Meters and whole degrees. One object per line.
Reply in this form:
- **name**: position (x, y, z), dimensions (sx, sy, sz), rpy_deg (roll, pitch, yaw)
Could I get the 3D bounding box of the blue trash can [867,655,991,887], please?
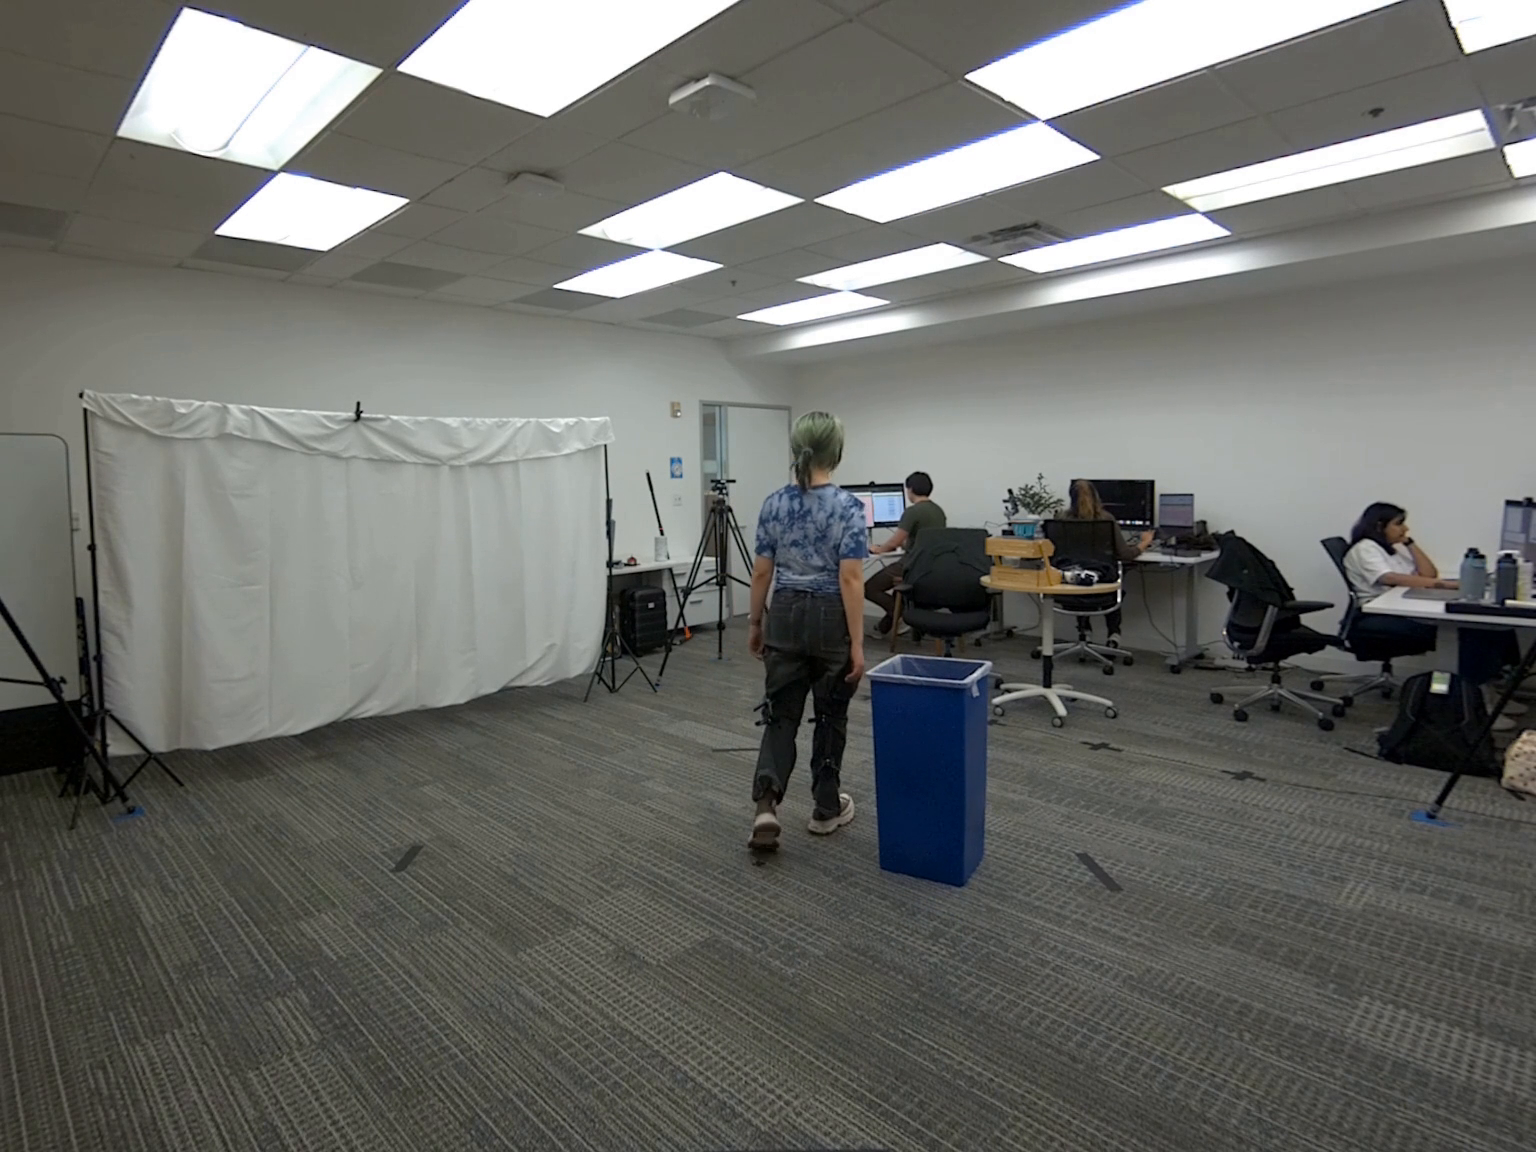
- **blue trash can**: position (0.588, 0.683, 3.073), dimensions (0.384, 0.711, 0.370), rpy_deg (1, 4, 29)
